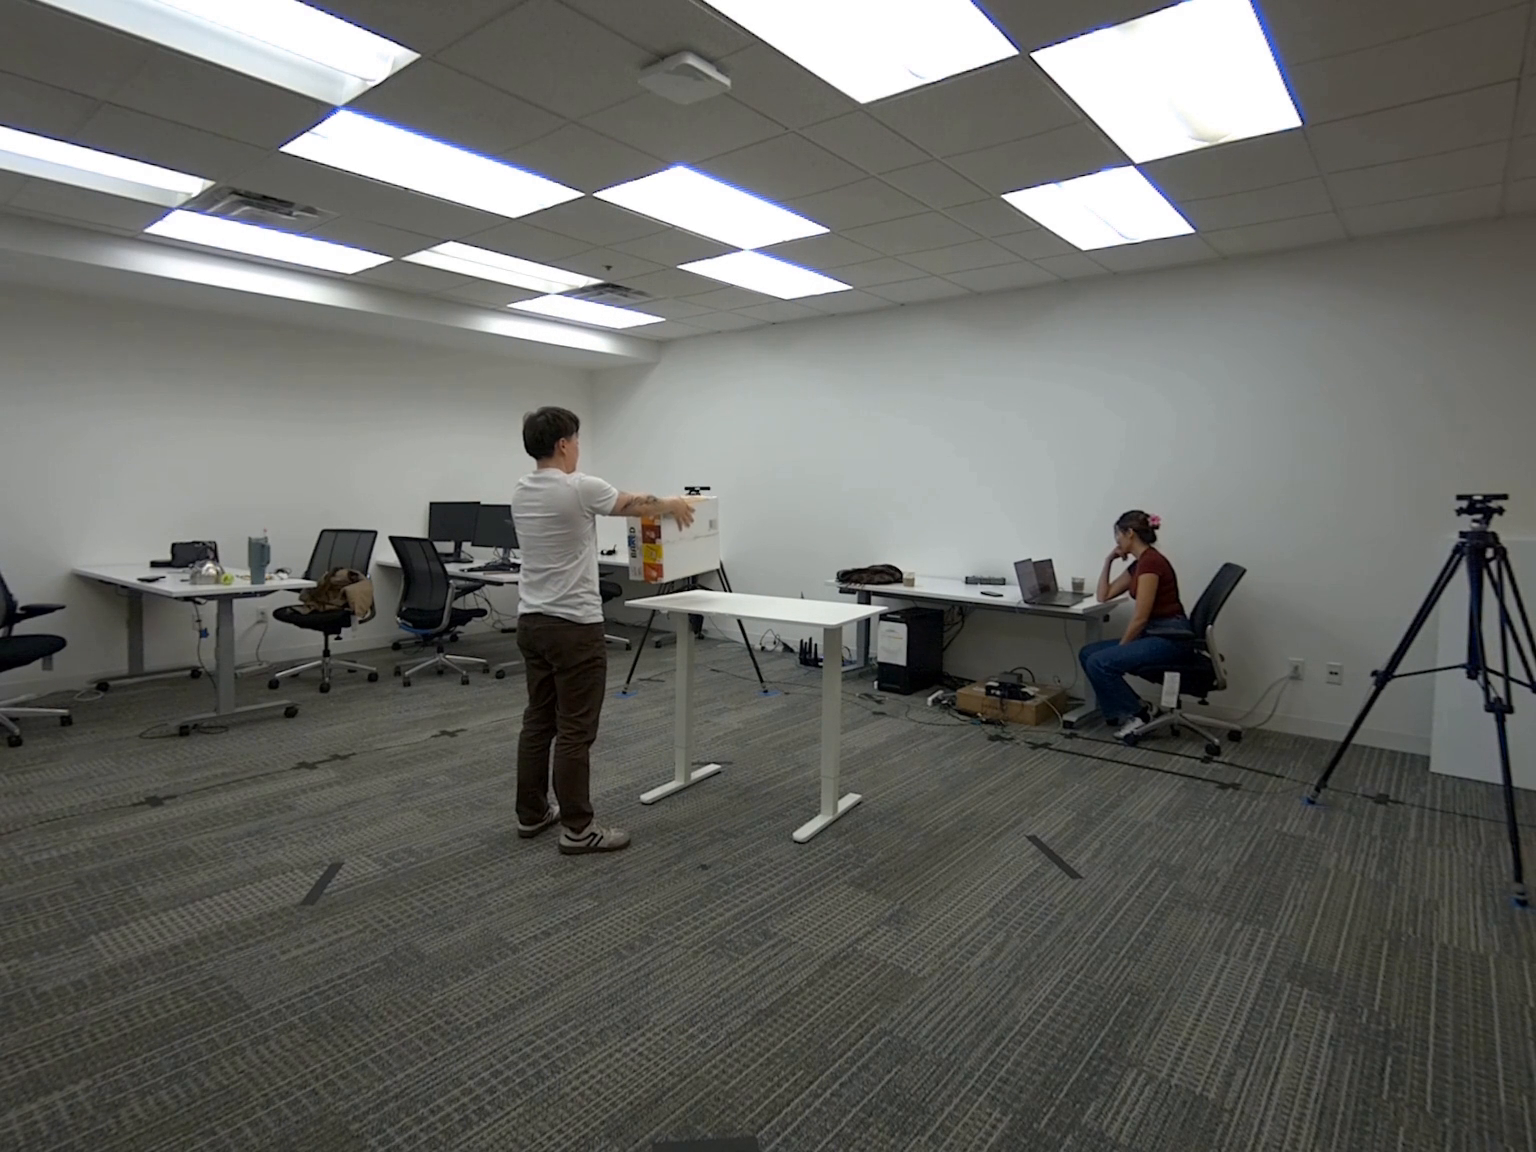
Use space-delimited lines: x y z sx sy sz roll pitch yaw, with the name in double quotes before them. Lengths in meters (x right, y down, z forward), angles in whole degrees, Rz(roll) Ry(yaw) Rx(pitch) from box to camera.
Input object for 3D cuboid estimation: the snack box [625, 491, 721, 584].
"snack box" -0.435 -0.171 3.838 0.212 0.337 0.396 5 12 36
